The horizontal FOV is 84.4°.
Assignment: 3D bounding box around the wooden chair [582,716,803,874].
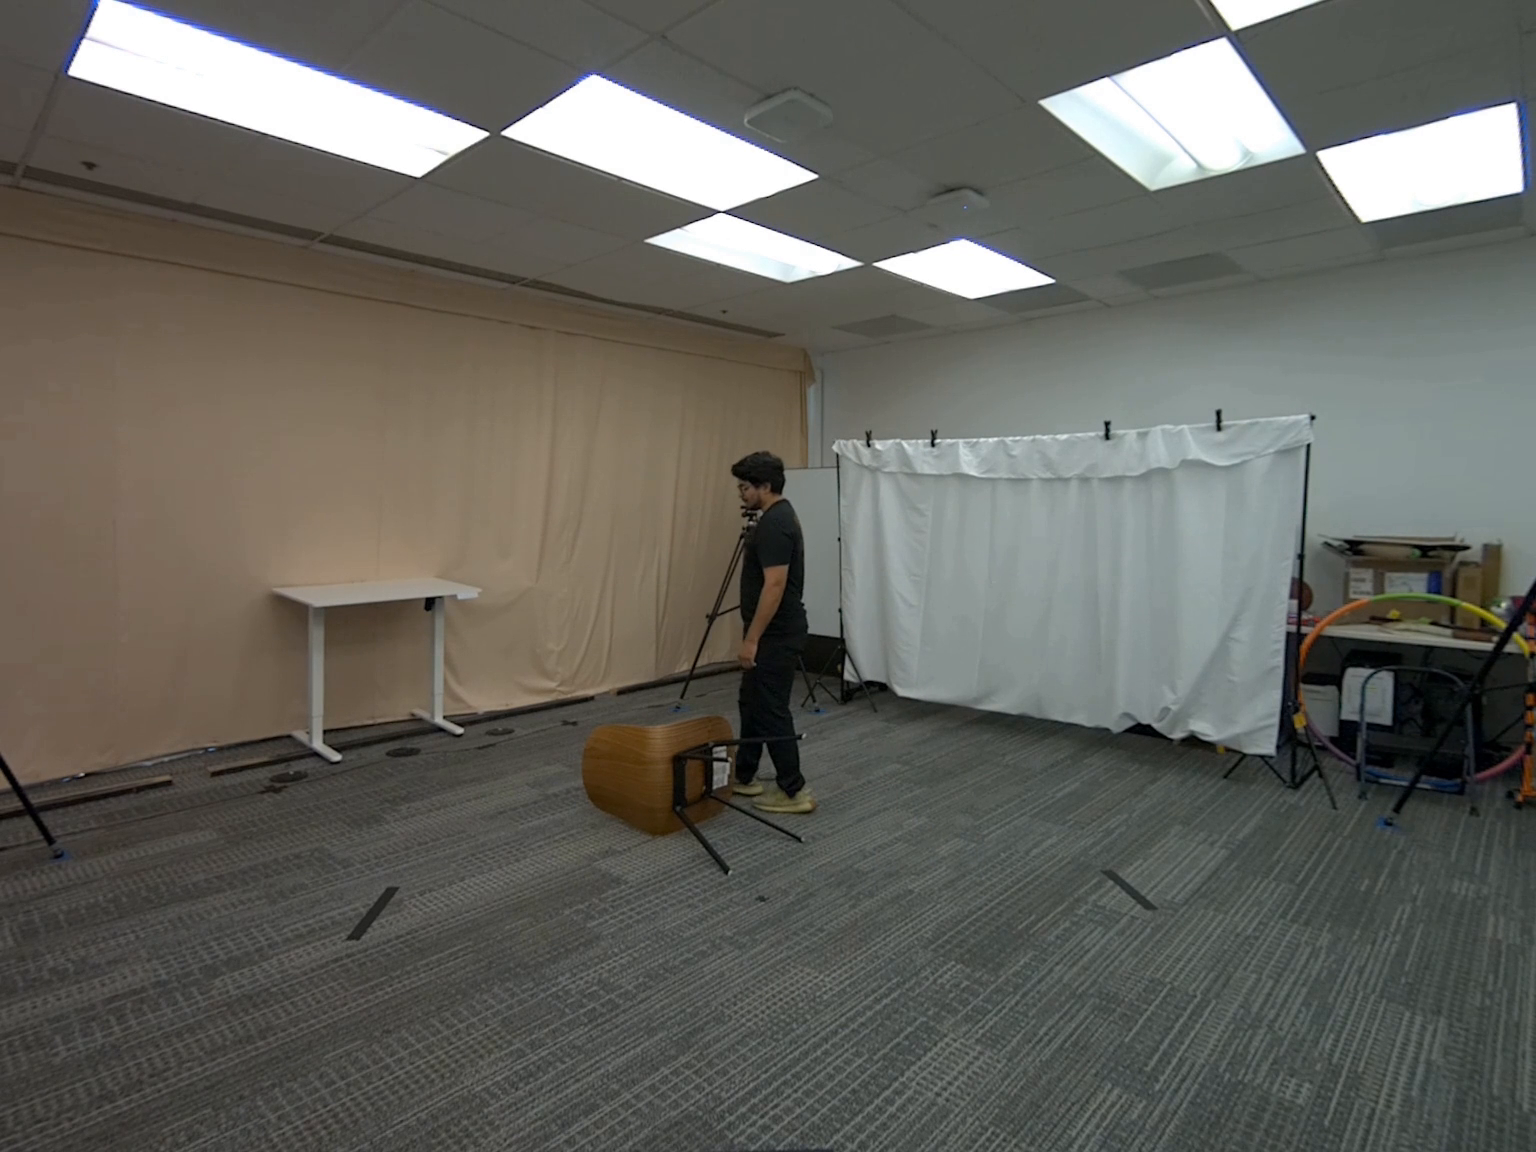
[{"bbox_3d":[-0.318,0.862,3.614,0.906,0.477,0.508,3,6,39],"label":"wooden chair"}]
